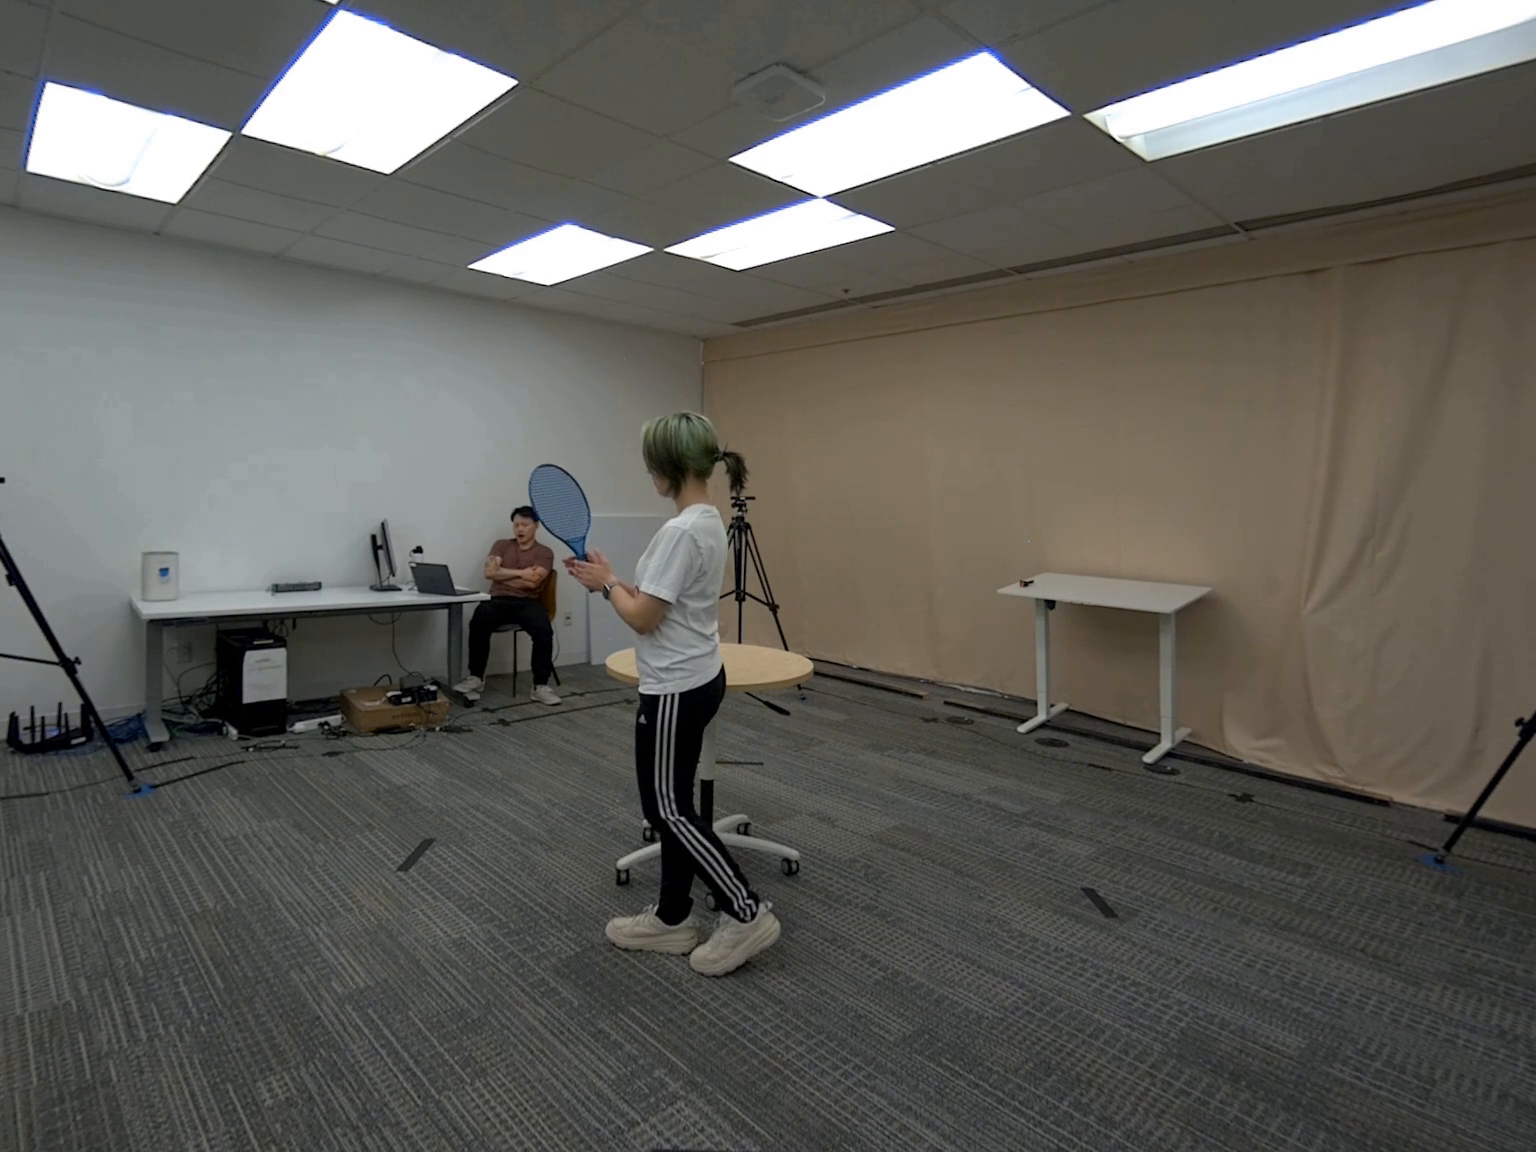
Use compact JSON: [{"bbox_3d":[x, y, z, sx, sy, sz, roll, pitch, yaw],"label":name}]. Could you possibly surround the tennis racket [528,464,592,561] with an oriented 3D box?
[{"bbox_3d":[-0.612,-0.152,2.622,0.032,0.433,0.211,-26,-2,38],"label":"tennis racket"}]
